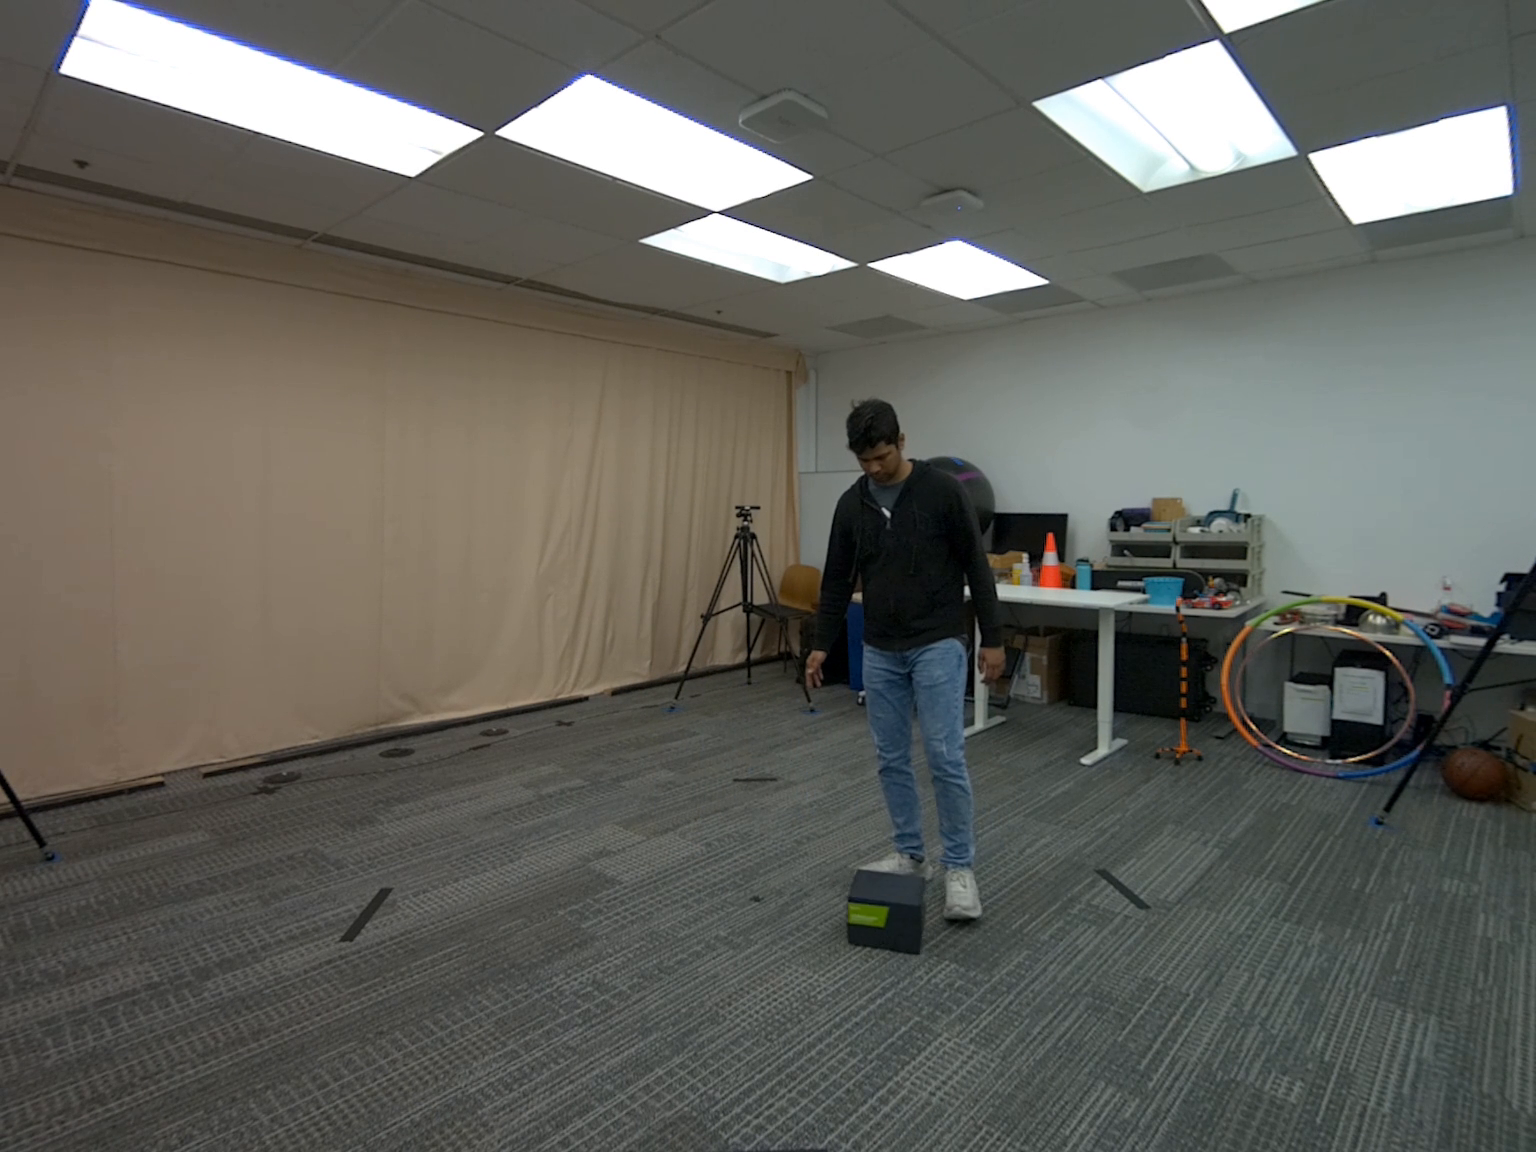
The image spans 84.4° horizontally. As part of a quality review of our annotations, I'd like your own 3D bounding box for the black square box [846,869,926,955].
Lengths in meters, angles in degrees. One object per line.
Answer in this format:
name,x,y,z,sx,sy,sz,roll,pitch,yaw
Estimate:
black square box,0.404,1.079,2.733,0.232,0.155,0.214,1,5,16
